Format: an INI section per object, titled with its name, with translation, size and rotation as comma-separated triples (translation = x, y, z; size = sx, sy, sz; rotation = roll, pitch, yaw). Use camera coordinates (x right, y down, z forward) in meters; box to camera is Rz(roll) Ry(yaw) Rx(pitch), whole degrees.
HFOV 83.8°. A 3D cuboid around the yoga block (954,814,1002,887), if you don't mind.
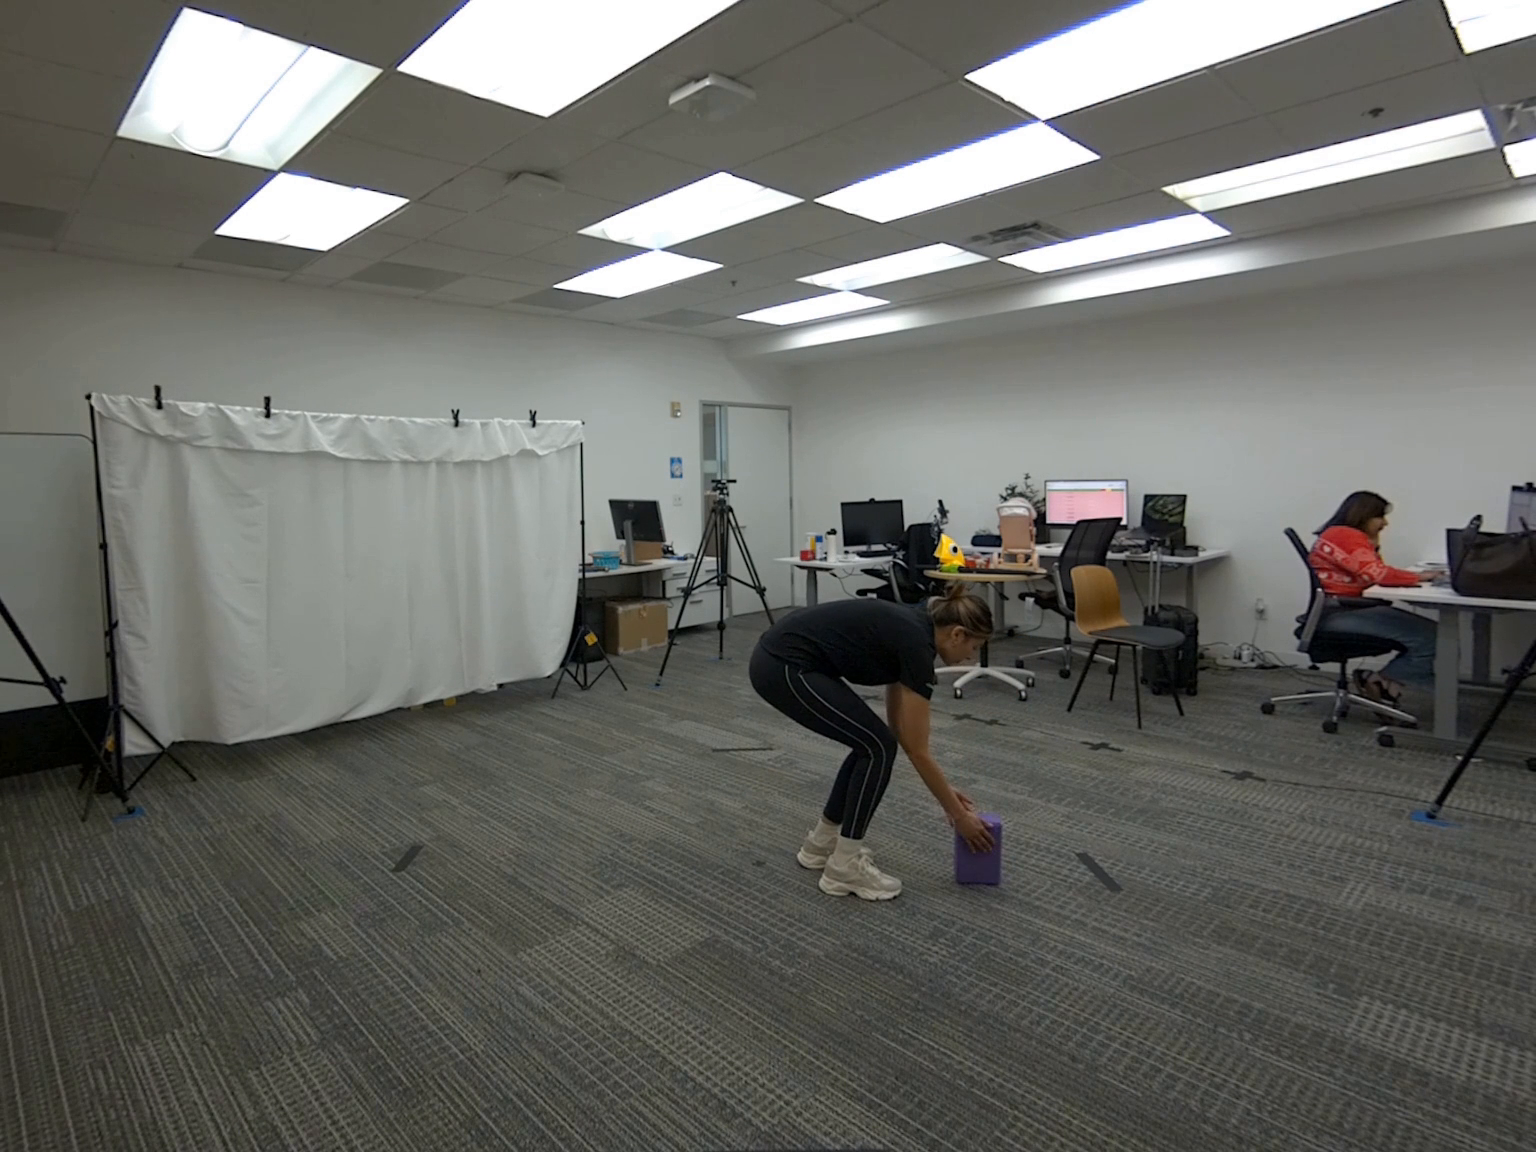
[yoga block]
translation = 0.726, 0.942, 2.935
size = 0.150, 0.228, 0.076
rotation = 2, 7, 6
